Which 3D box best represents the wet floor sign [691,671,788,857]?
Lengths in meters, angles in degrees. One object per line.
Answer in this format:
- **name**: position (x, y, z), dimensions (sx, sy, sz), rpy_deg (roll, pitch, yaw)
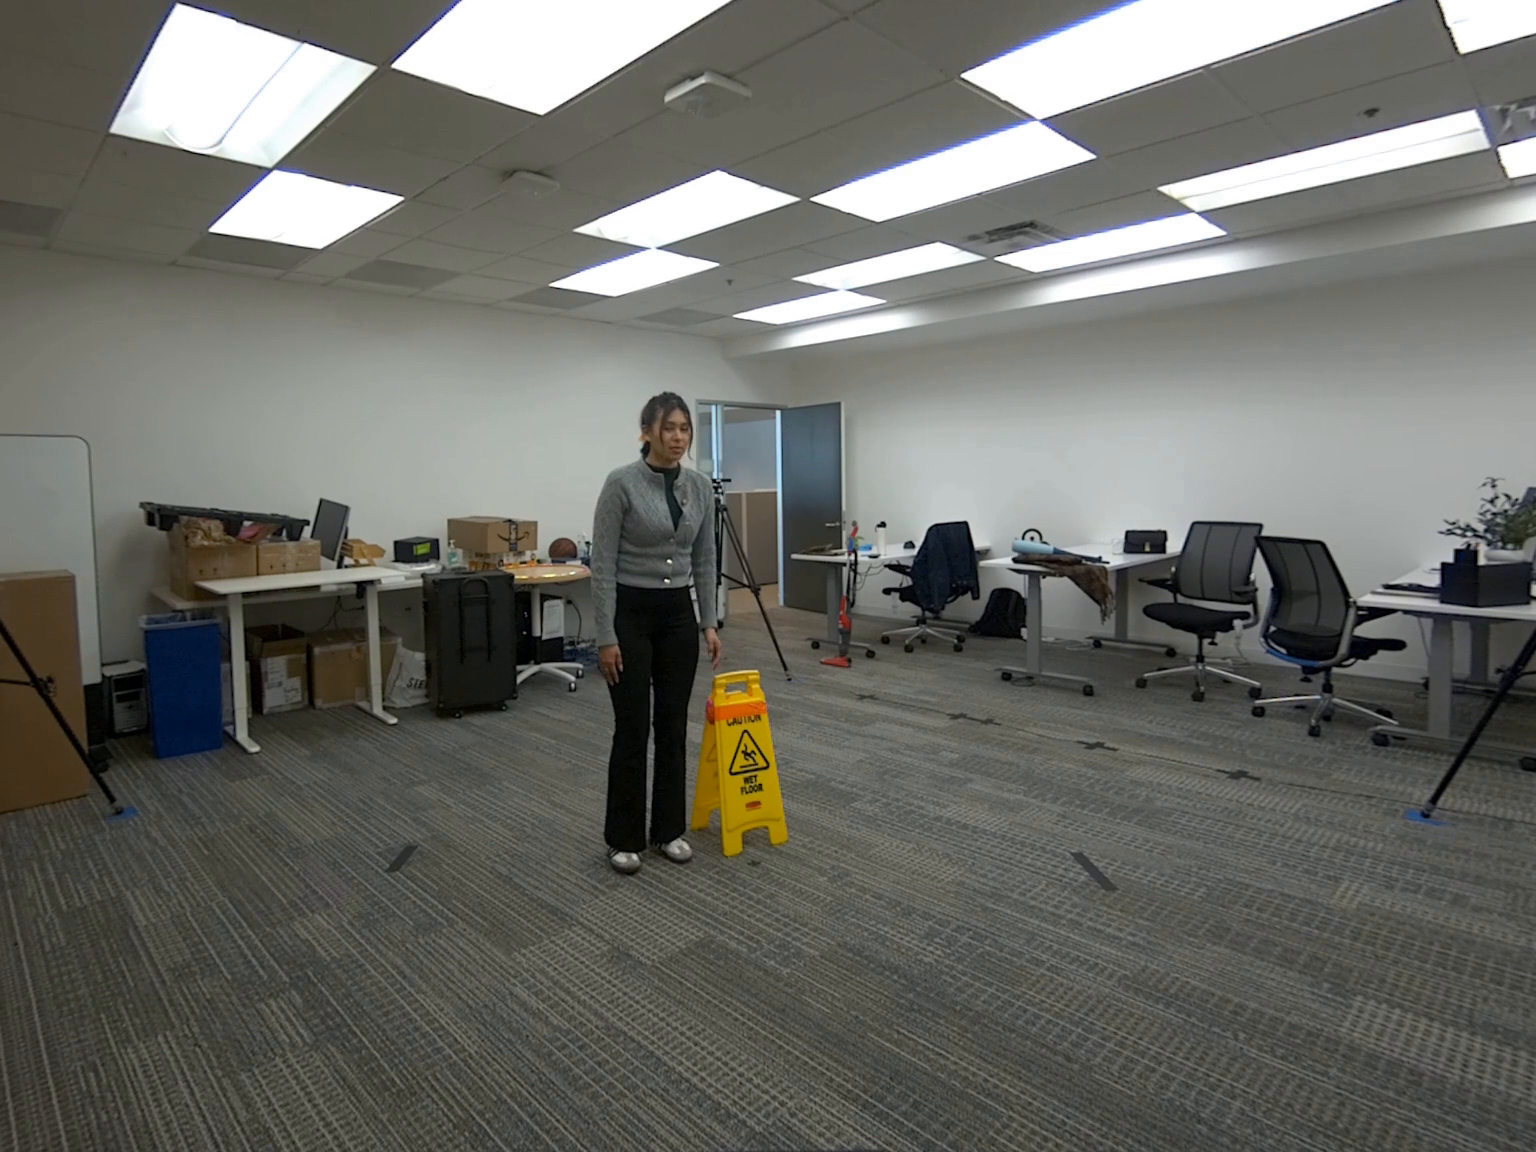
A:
- **wet floor sign**: position (-0.117, 0.696, 3.335), dimensions (0.276, 0.644, 0.298), rpy_deg (-3, 5, -30)
